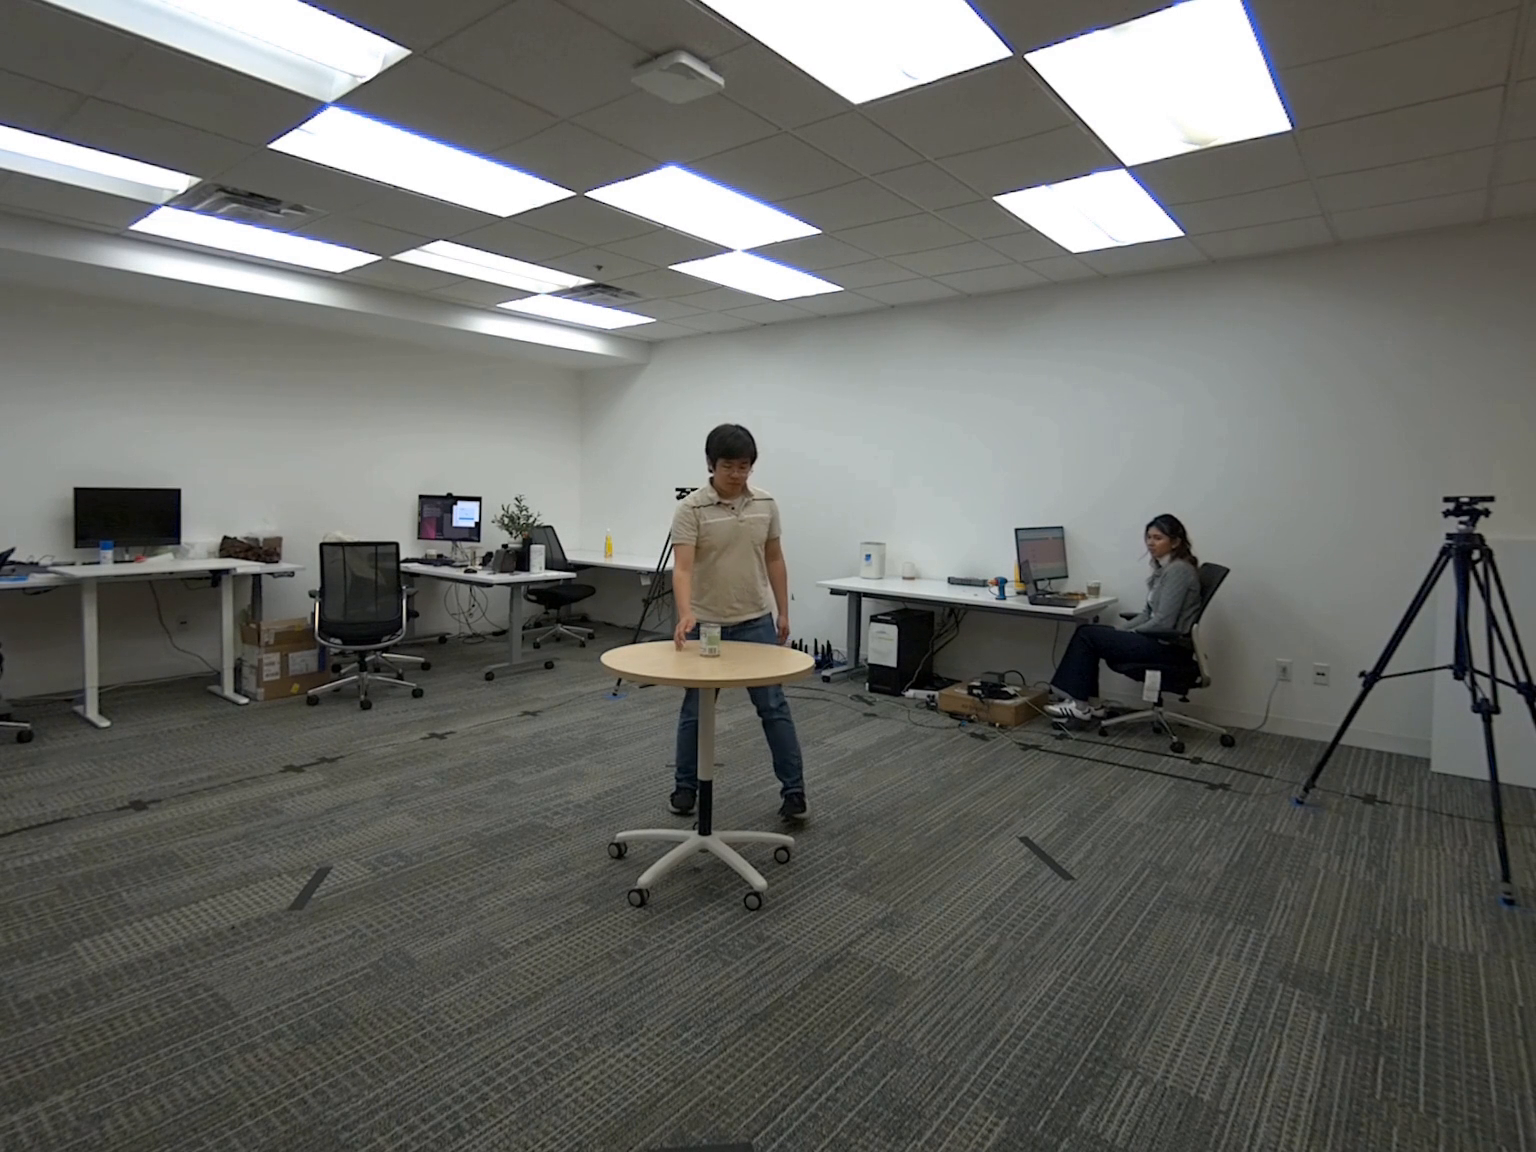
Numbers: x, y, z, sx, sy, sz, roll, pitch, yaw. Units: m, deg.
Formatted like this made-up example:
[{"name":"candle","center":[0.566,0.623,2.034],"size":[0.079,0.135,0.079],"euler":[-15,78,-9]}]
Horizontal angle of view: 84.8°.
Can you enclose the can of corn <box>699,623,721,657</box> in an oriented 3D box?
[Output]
[{"name":"can of corn","center":[-0.219,0.229,3.091],"size":[0.074,0.111,0.074],"euler":[1,1,-2]}]
